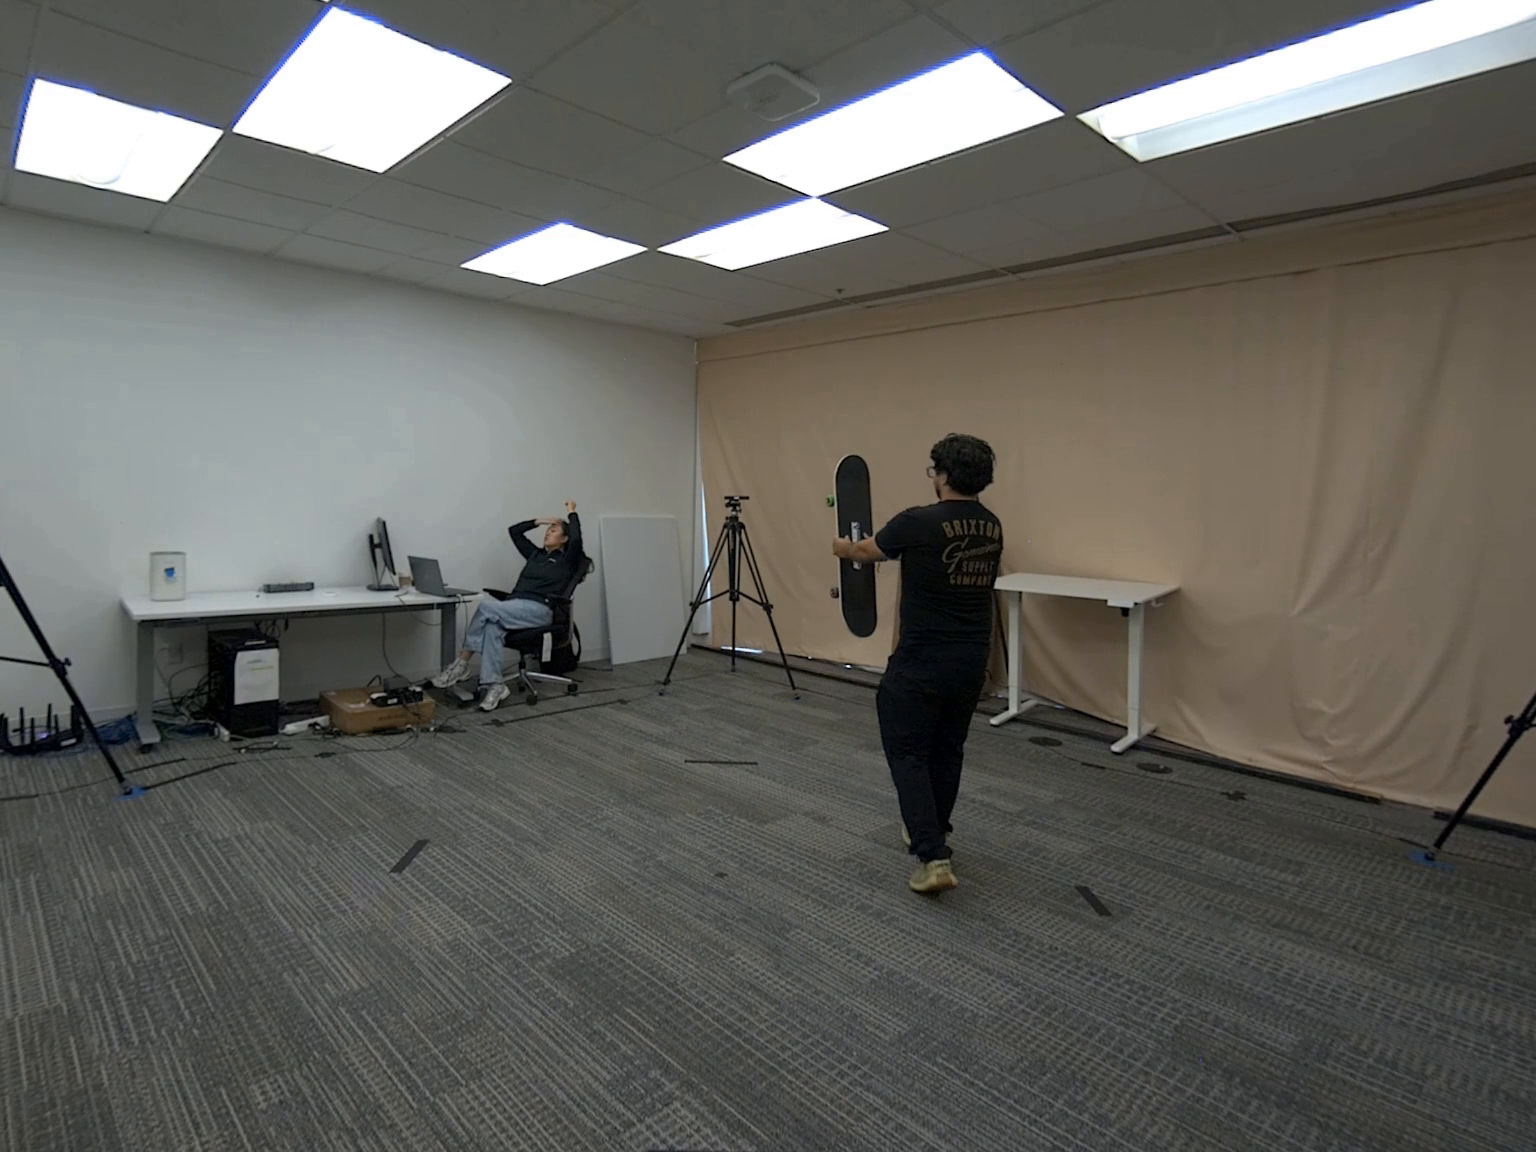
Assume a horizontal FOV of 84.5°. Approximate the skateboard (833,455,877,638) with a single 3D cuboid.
[{"bbox_3d":[0.354,-0.129,3.649,0.189,0.789,0.112,2,-7,-30],"label":"skateboard"}]
